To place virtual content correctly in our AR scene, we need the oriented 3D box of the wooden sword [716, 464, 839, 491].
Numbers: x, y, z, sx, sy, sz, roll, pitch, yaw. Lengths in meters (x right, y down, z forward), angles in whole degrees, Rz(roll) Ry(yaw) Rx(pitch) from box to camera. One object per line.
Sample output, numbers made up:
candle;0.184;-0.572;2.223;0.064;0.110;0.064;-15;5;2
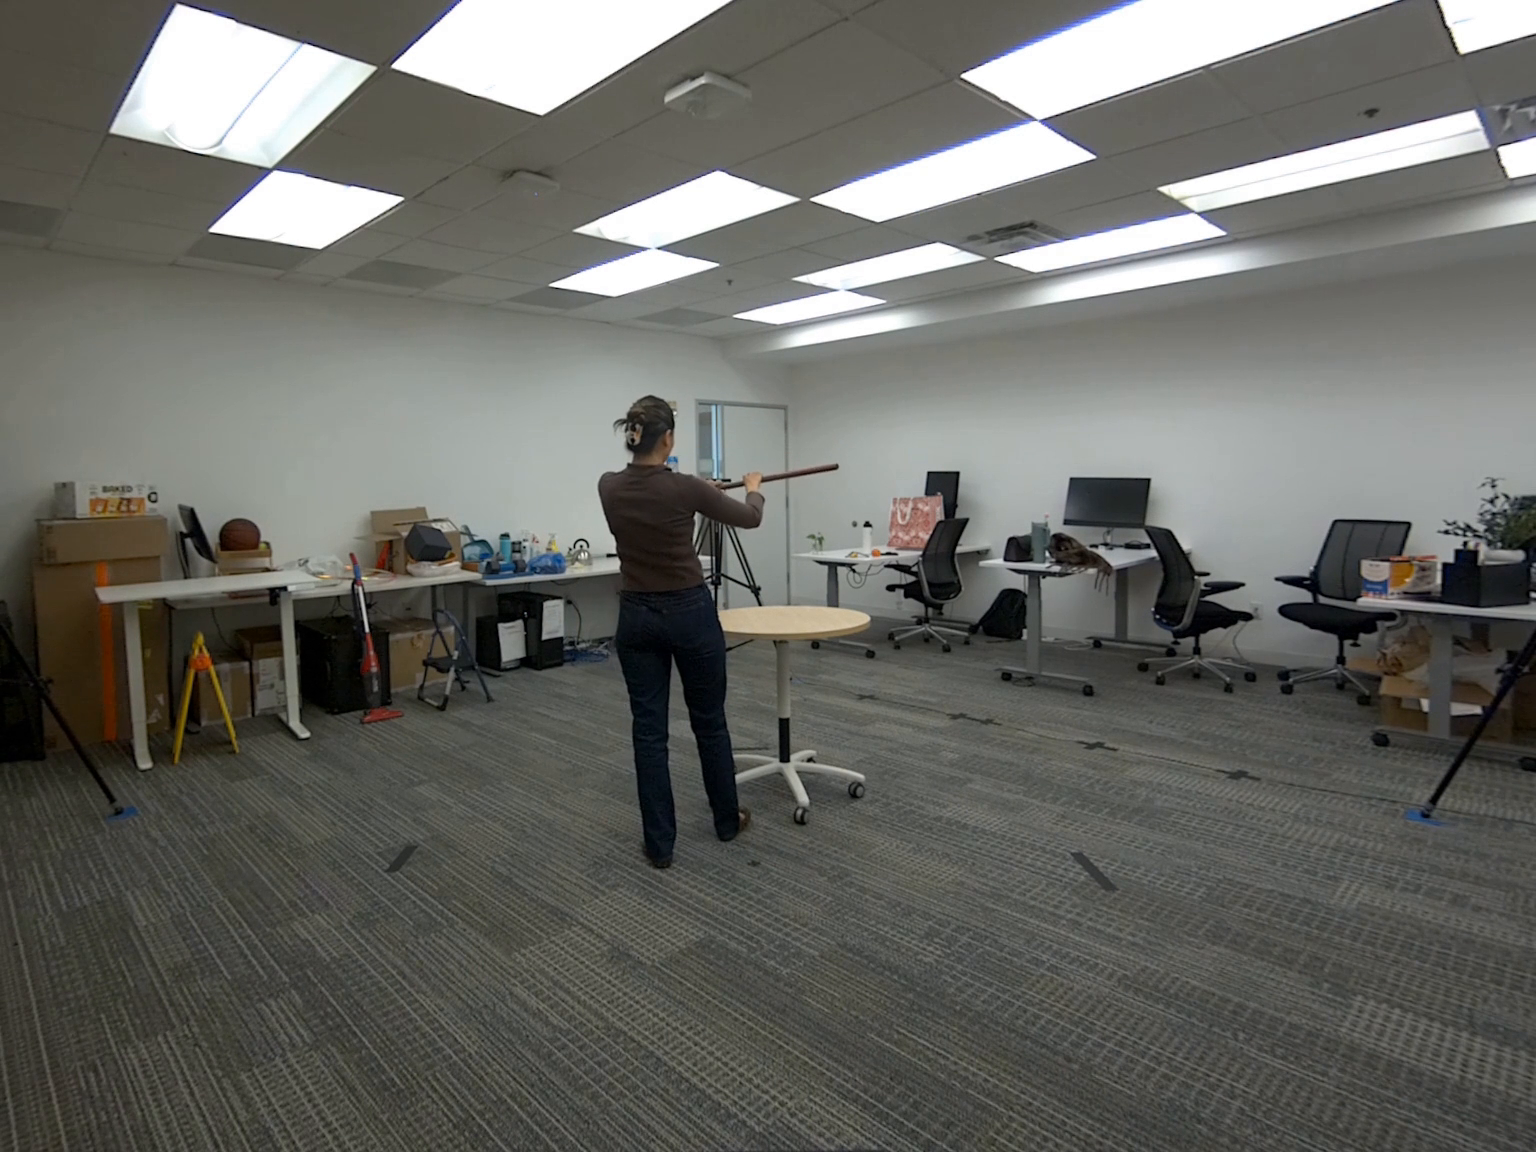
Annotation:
wooden sword;-0.130;-0.367;3.519;1.049;0.050;0.024;-7;21;36
